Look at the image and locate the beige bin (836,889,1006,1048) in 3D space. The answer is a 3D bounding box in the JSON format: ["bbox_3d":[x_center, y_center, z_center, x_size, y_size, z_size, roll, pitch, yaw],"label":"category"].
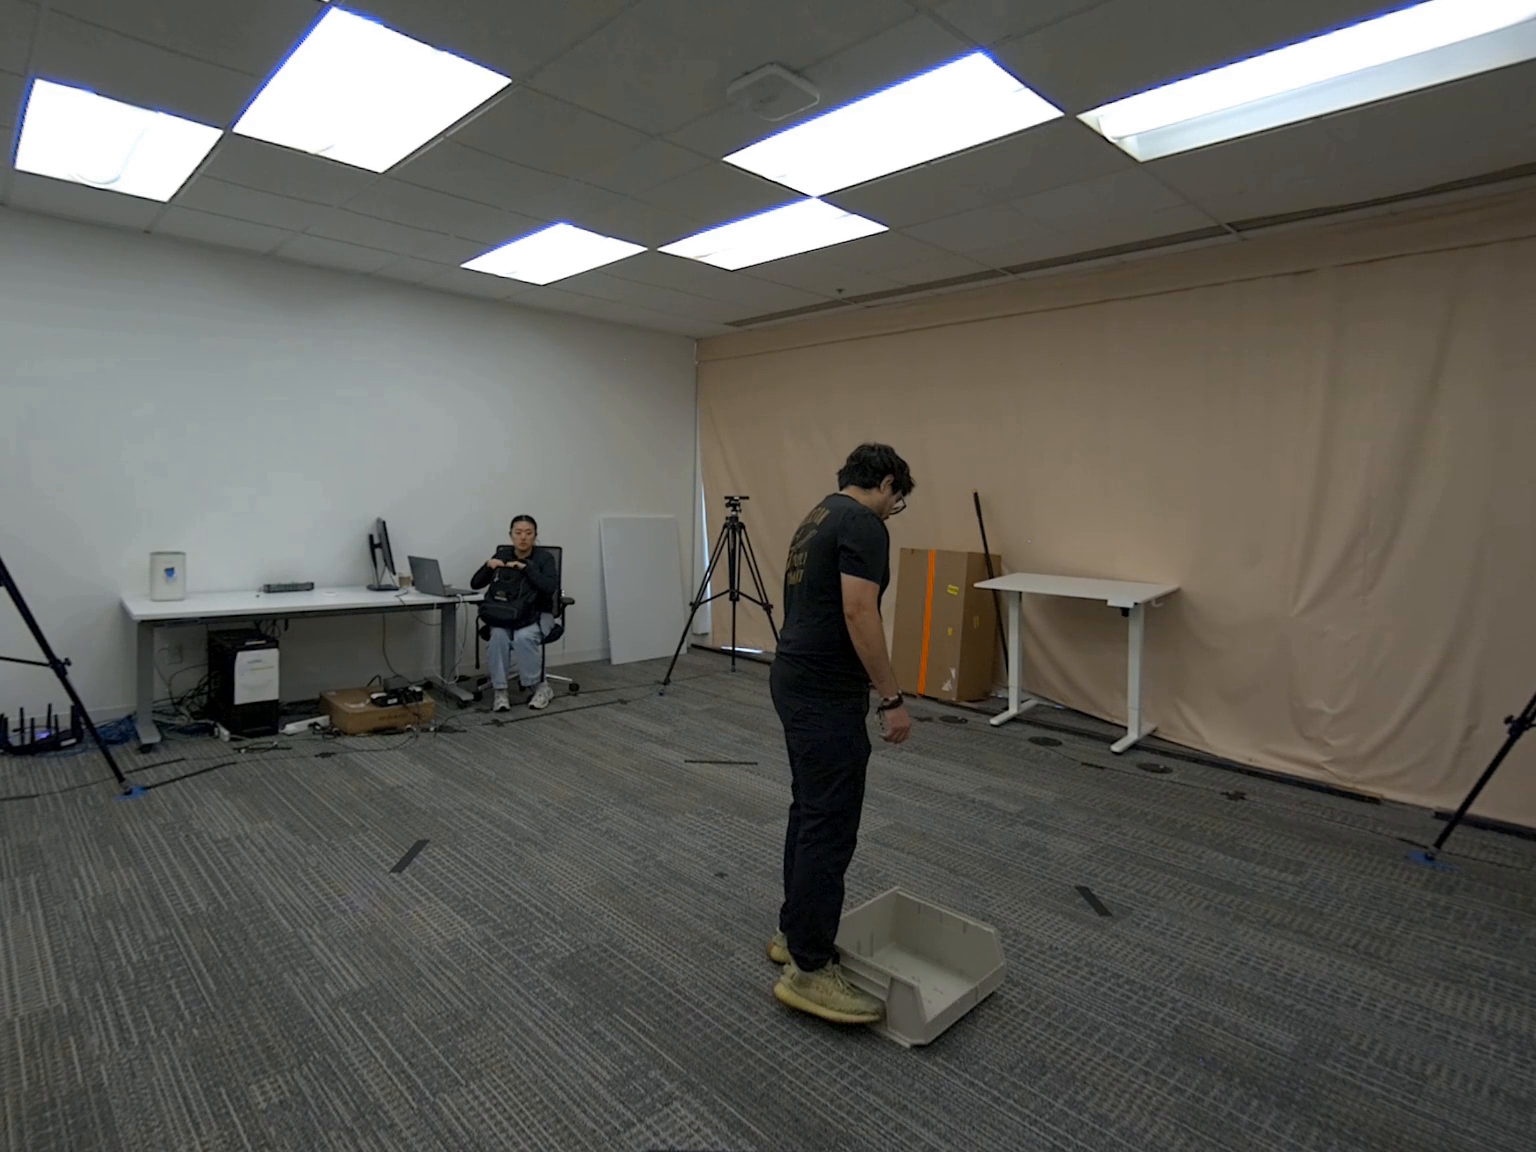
[{"bbox_3d":[0.400,1.098,2.377,0.387,0.188,0.413,4,6,43],"label":"beige bin"}]
